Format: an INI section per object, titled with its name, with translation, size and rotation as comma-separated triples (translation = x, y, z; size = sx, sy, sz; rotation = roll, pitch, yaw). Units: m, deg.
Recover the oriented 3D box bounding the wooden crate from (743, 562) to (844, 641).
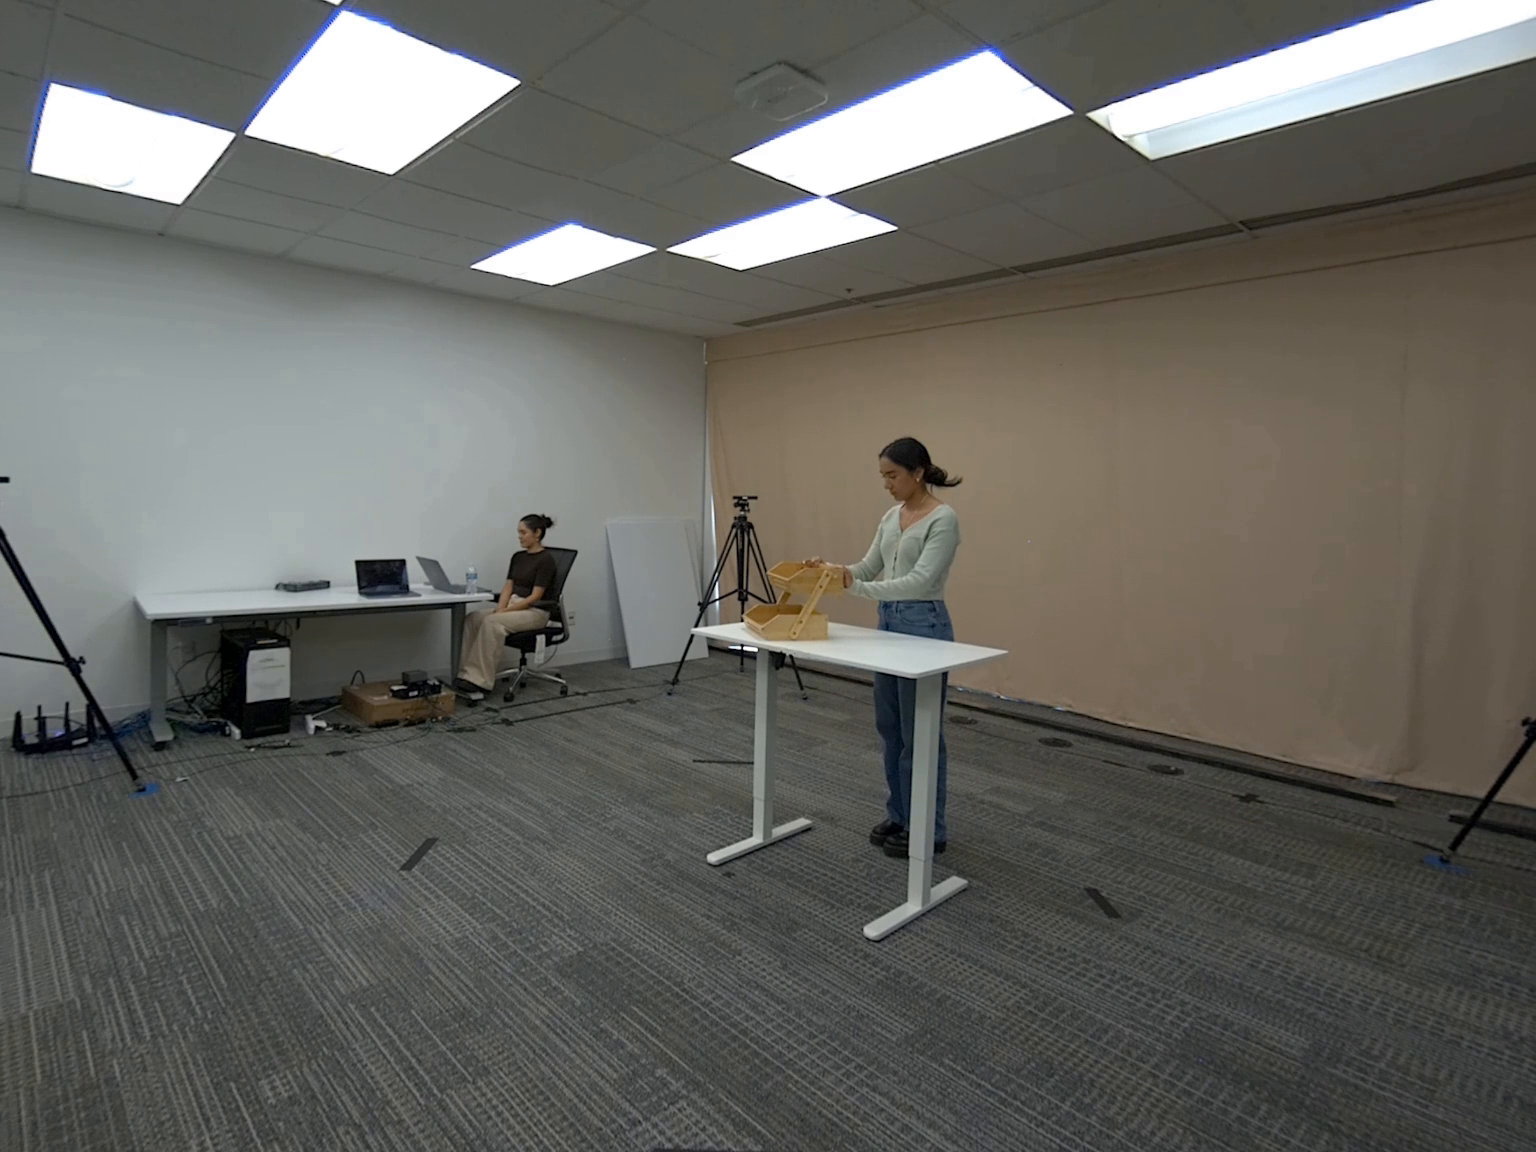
[wooden crate]
translation = 0.080, 0.086, 3.169
size = 0.299, 0.272, 0.329
rotation = 1, 5, -14
